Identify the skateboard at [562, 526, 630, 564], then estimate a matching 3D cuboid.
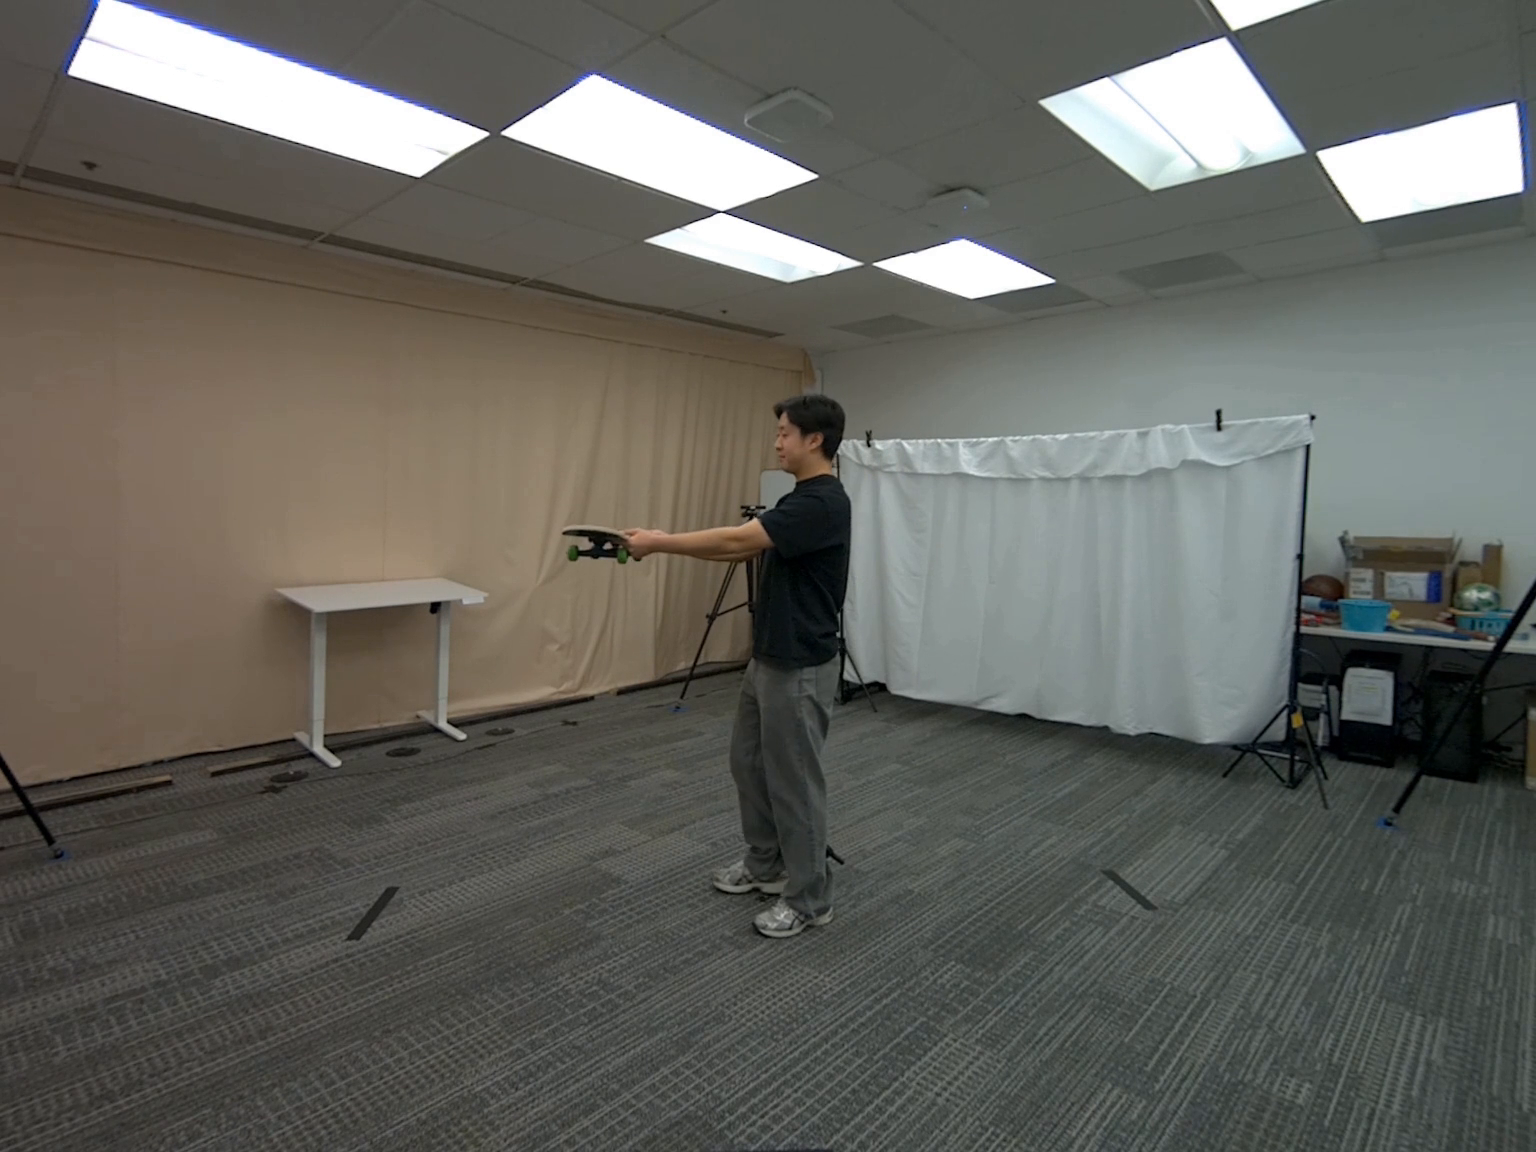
[{"bbox_3d":[-0.544,-0.104,2.867,0.193,0.110,0.786,1,2,-1],"label":"skateboard"}]
